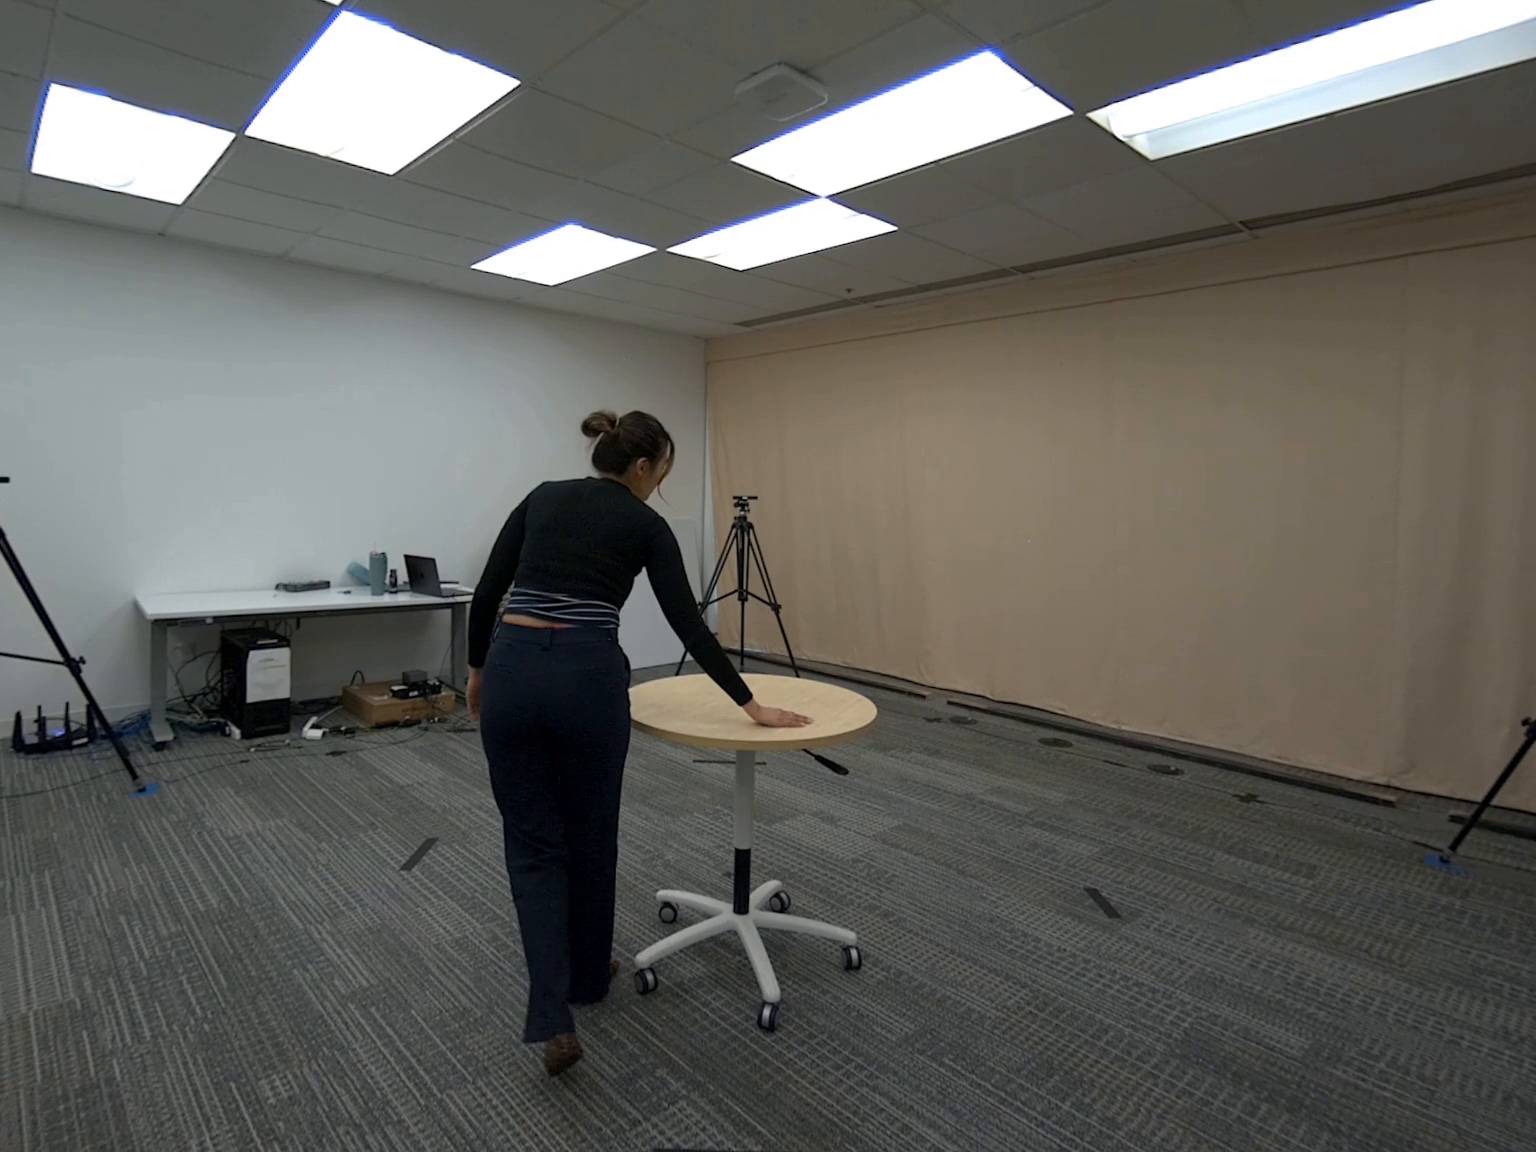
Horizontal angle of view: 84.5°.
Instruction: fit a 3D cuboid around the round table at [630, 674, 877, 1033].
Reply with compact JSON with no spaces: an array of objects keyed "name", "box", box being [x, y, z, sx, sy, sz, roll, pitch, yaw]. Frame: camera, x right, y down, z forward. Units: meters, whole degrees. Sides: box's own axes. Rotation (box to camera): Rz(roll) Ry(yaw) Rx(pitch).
[{"name":"round table","box":[-0.082,0.769,2.531,0.763,0.791,0.767,1,5,-1]}]
